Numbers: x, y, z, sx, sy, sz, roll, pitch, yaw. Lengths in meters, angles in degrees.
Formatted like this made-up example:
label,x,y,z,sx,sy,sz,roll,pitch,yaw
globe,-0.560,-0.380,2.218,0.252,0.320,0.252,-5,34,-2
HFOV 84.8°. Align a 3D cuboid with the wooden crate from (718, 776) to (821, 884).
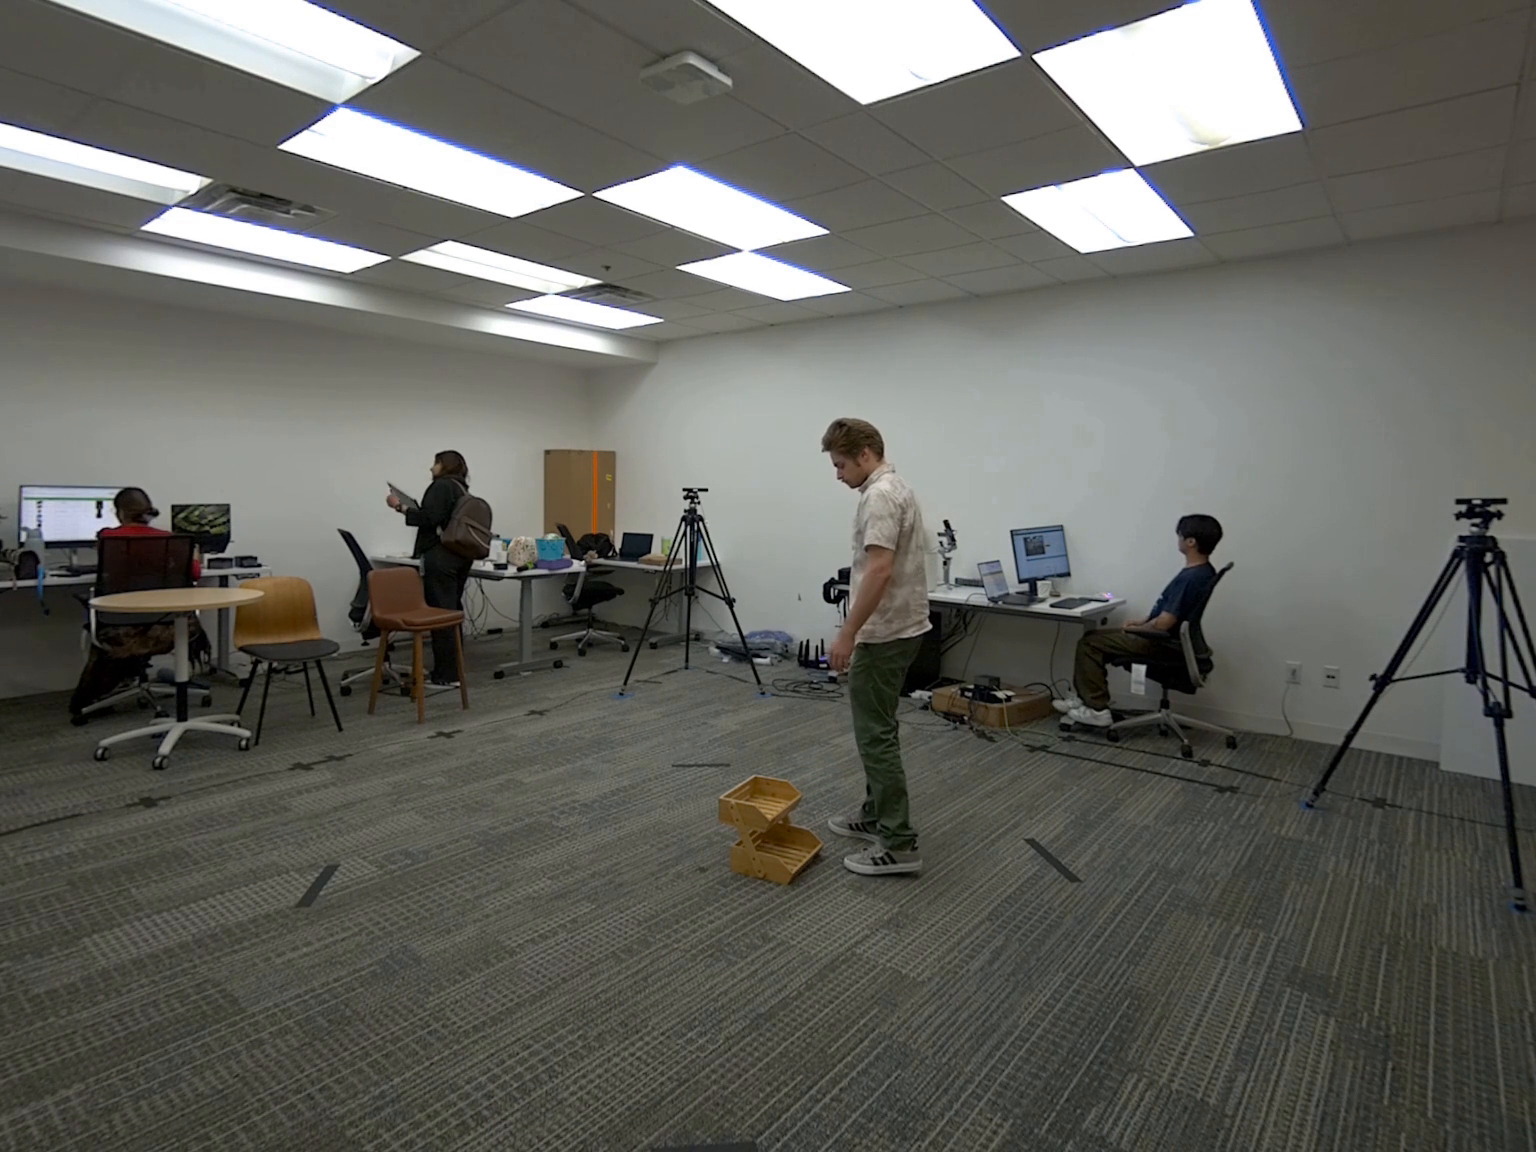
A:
label,x,y,z,sx,sy,sz,roll,pitch,yaw
wooden crate,0.013,0.932,3.182,0.310,0.272,0.317,2,4,27
